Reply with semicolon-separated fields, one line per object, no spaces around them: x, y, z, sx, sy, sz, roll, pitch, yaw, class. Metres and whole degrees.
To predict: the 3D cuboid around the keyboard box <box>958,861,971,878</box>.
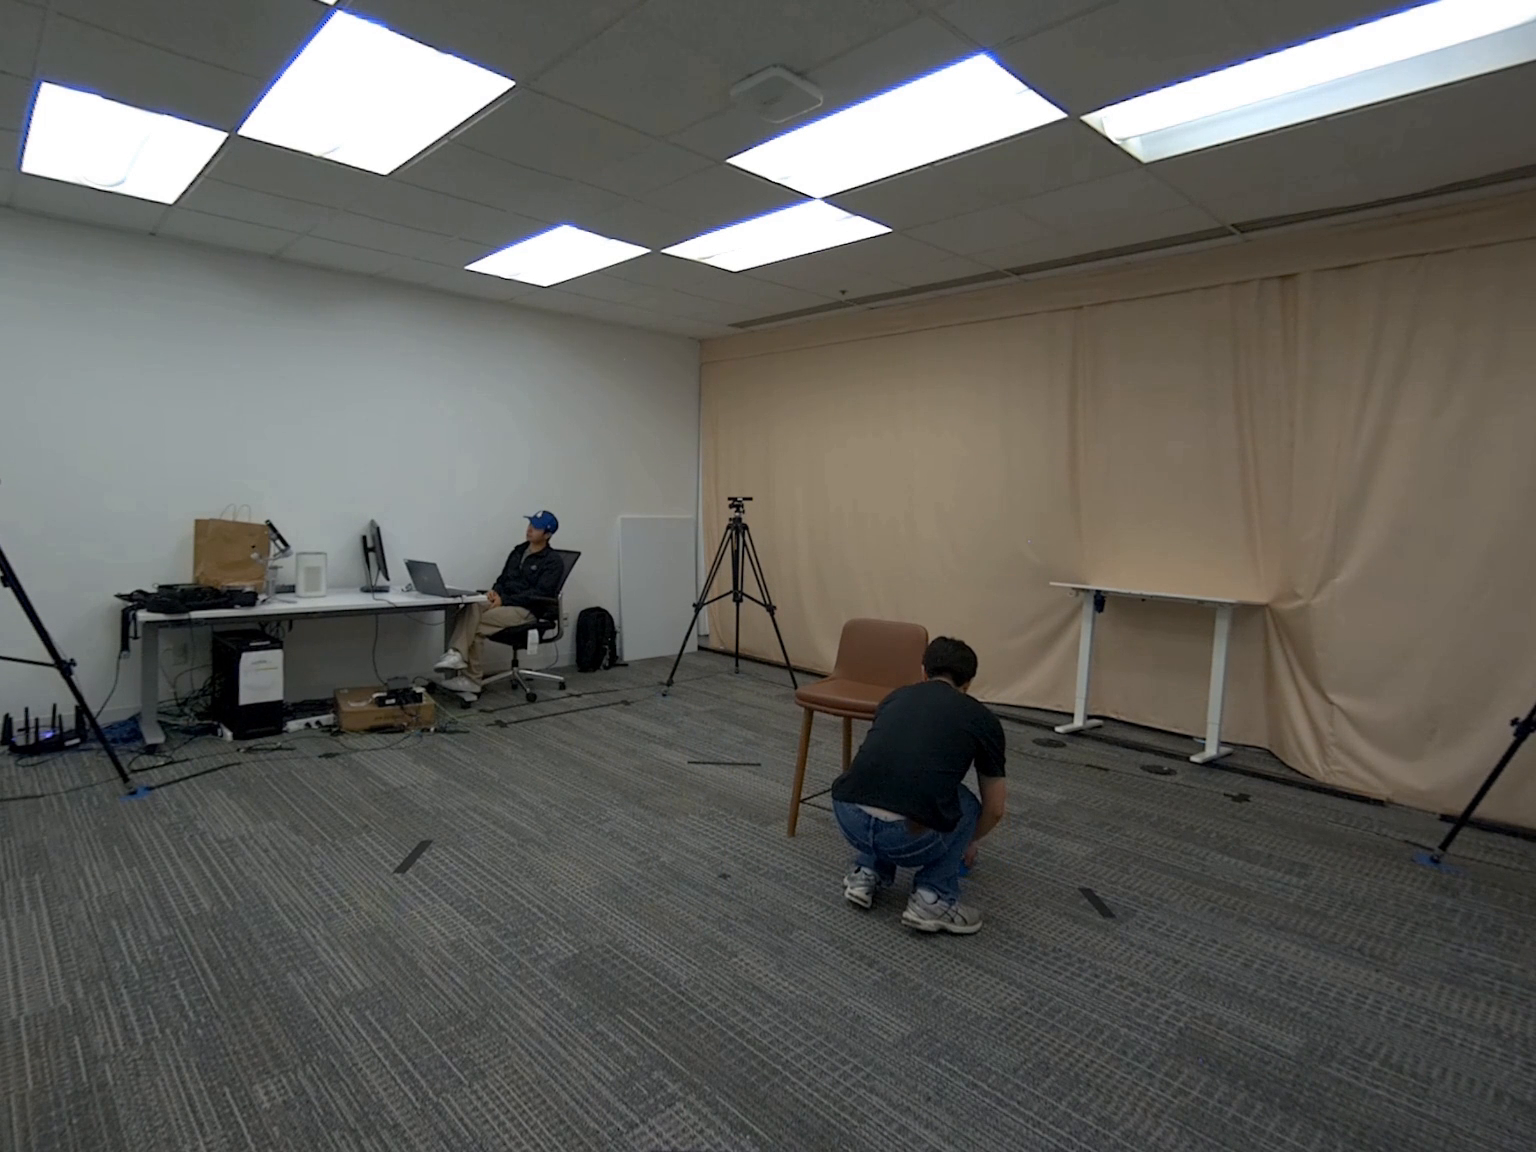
0.583;1.082;3.354;0.448;0.059;0.172;5;5;38;keyboard box
